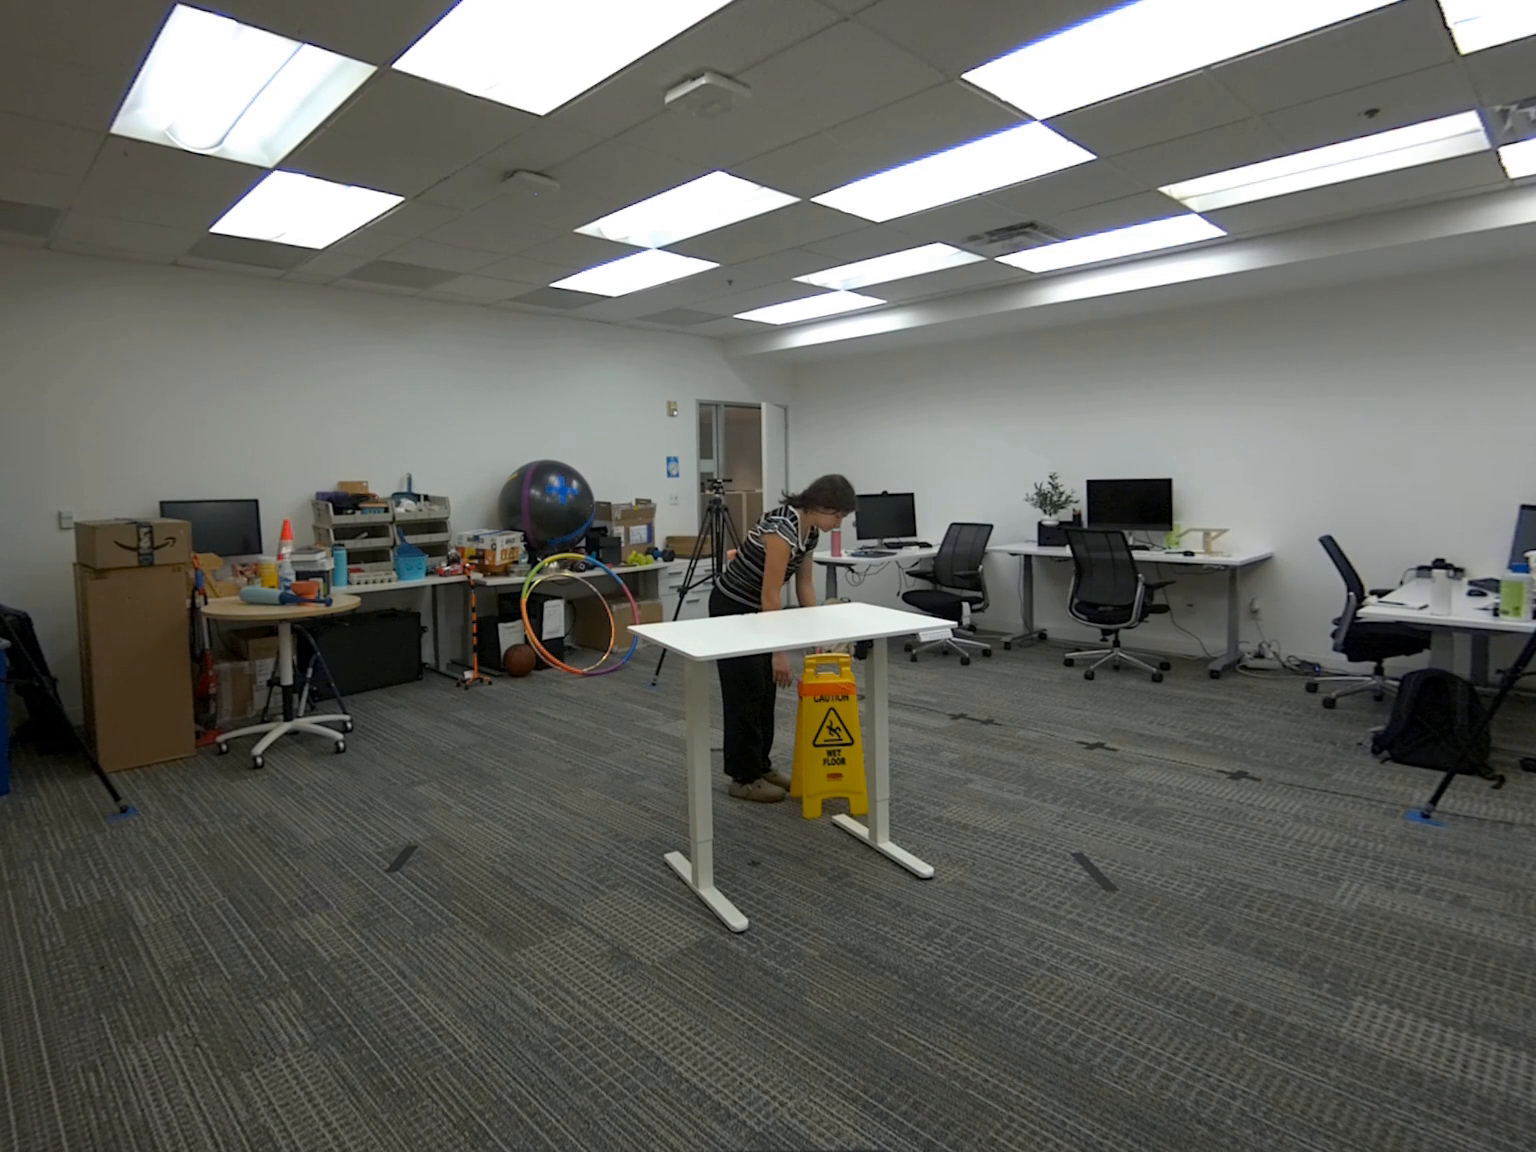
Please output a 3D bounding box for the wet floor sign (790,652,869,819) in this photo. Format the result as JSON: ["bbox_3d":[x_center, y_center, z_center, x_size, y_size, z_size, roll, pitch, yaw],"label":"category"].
[{"bbox_3d":[0.258,0.653,3.634,0.280,0.644,0.293,-2,3,-9],"label":"wet floor sign"}]
